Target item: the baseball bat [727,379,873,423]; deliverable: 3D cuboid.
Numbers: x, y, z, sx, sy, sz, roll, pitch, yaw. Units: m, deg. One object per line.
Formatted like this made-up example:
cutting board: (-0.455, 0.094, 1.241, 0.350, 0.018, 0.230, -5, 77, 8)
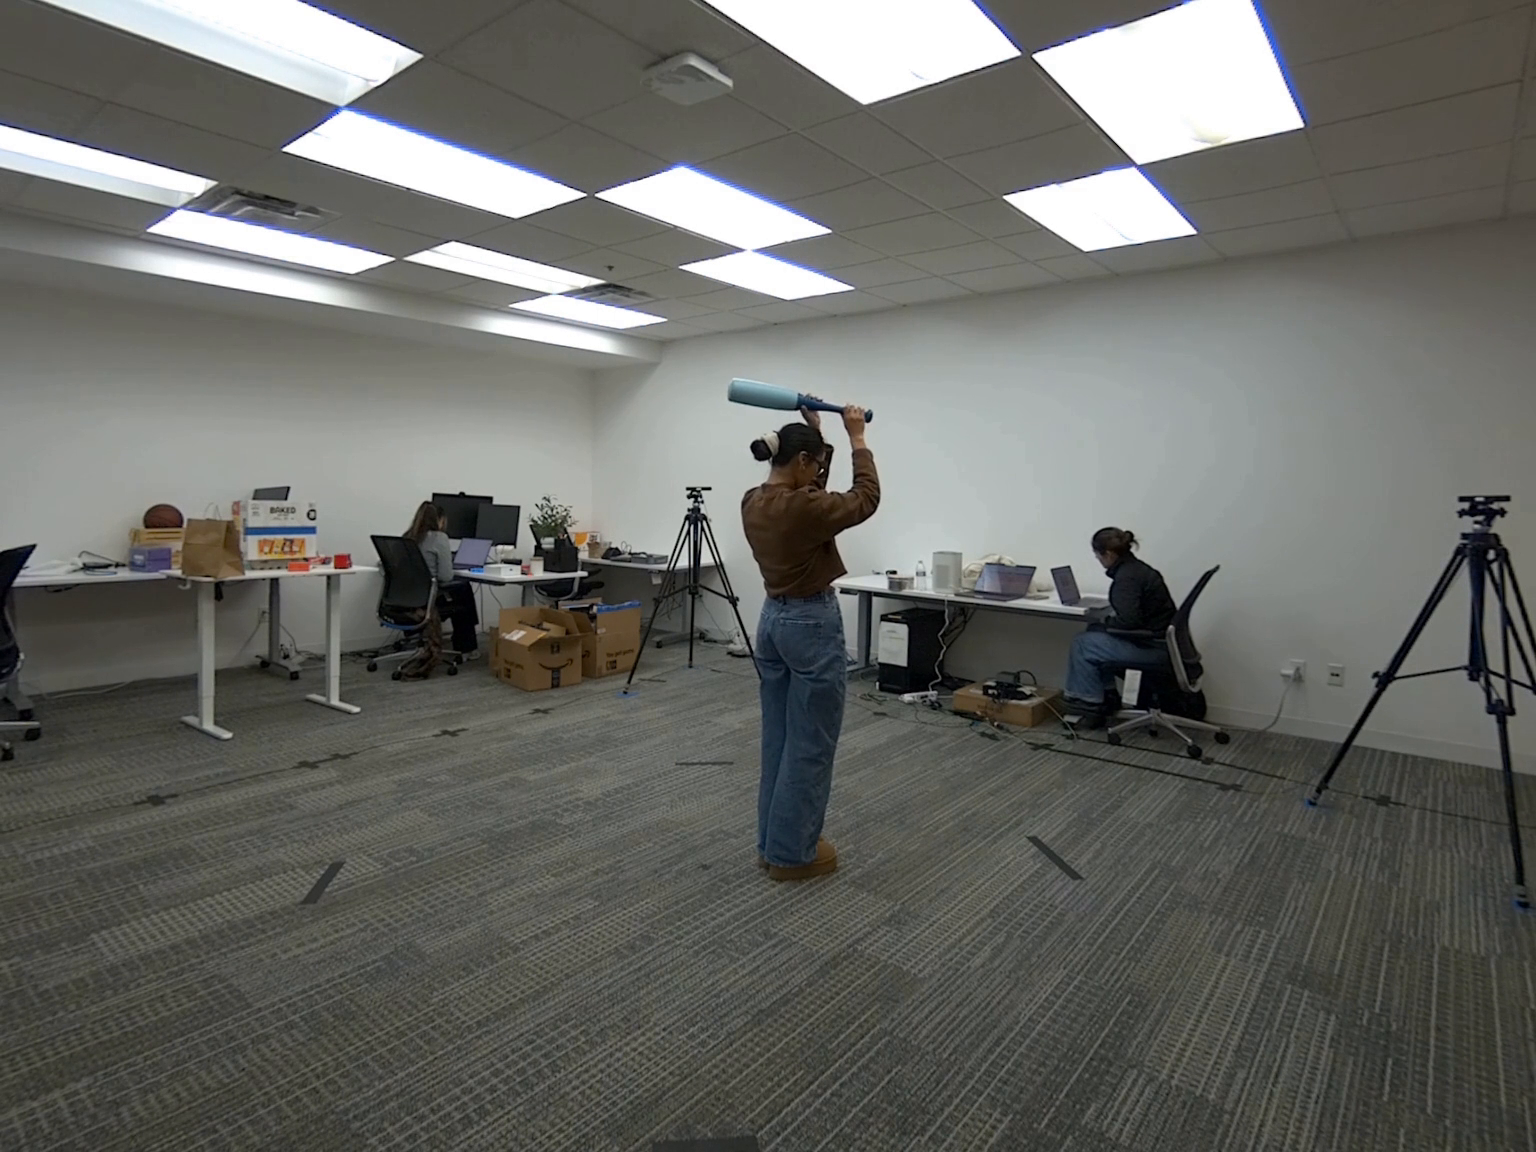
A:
baseball bat: (0.113, -0.636, 3.100, 0.538, 0.089, 0.090, 10, 3, -8)
